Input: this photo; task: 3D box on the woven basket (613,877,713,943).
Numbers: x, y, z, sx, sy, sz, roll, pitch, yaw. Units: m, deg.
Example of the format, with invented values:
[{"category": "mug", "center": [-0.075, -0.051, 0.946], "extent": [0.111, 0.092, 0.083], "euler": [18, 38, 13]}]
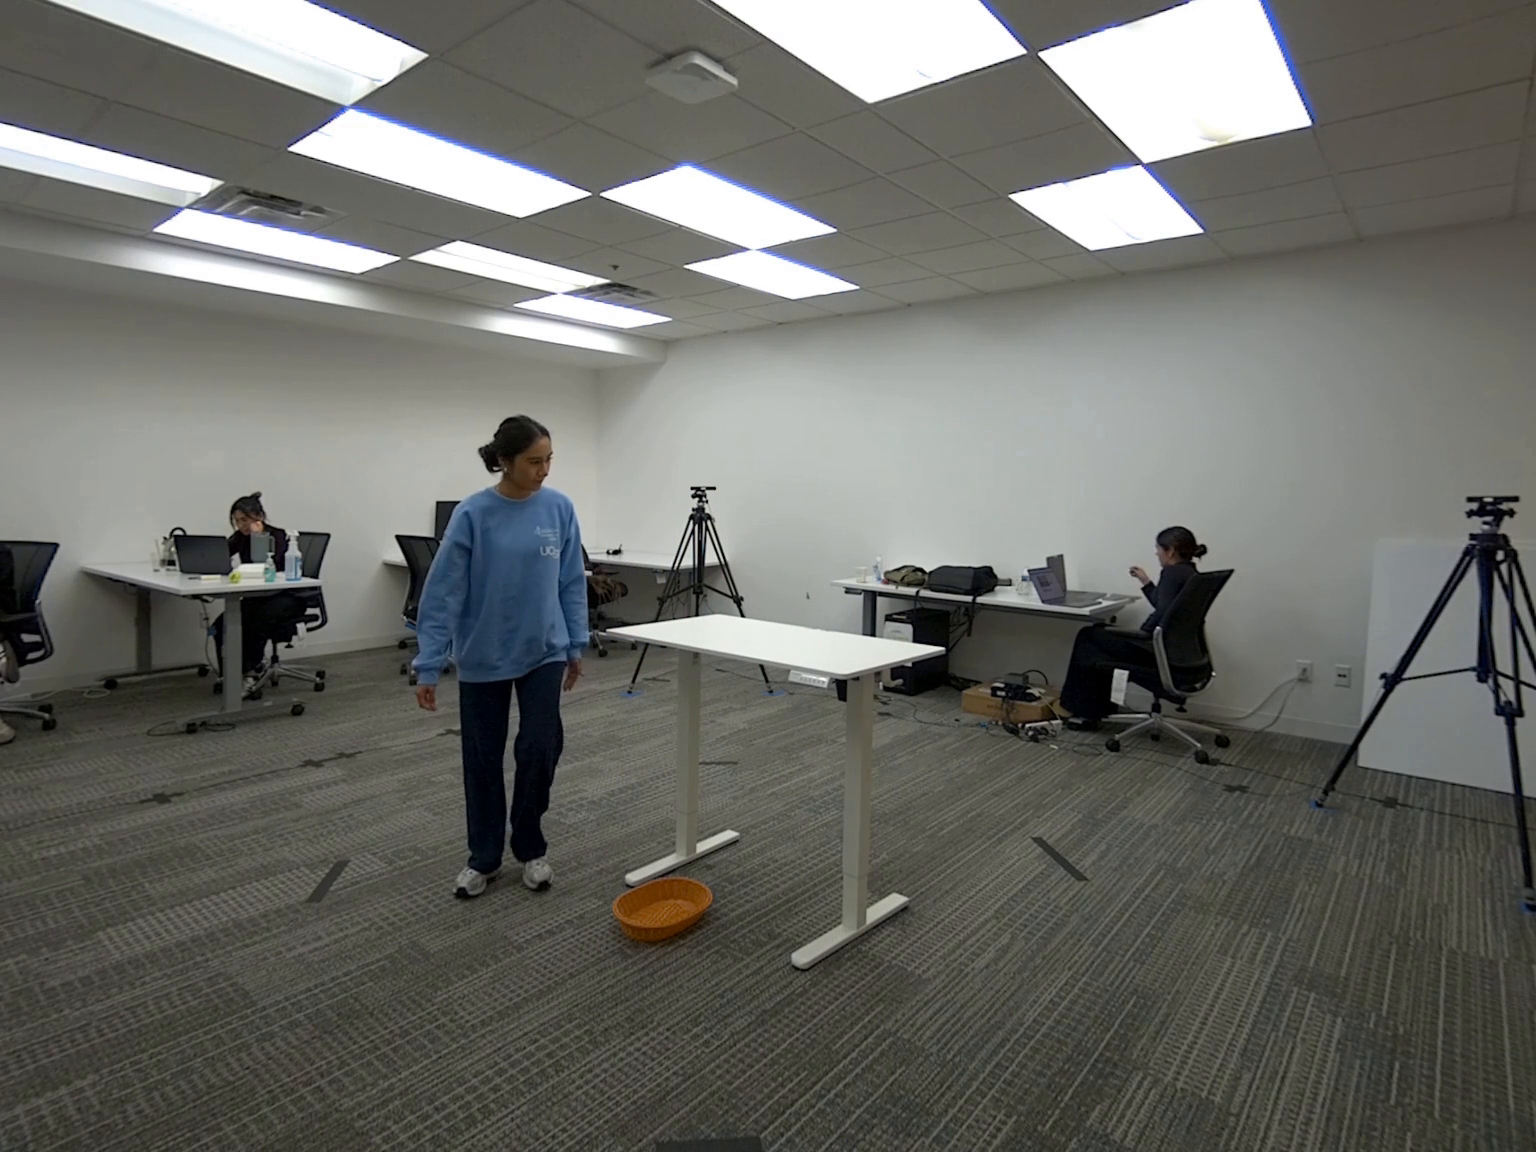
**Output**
[{"category": "woven basket", "center": [-0.339, 1.058, 2.716], "extent": [0.261, 0.073, 0.340], "euler": [8, 8, 43]}]
